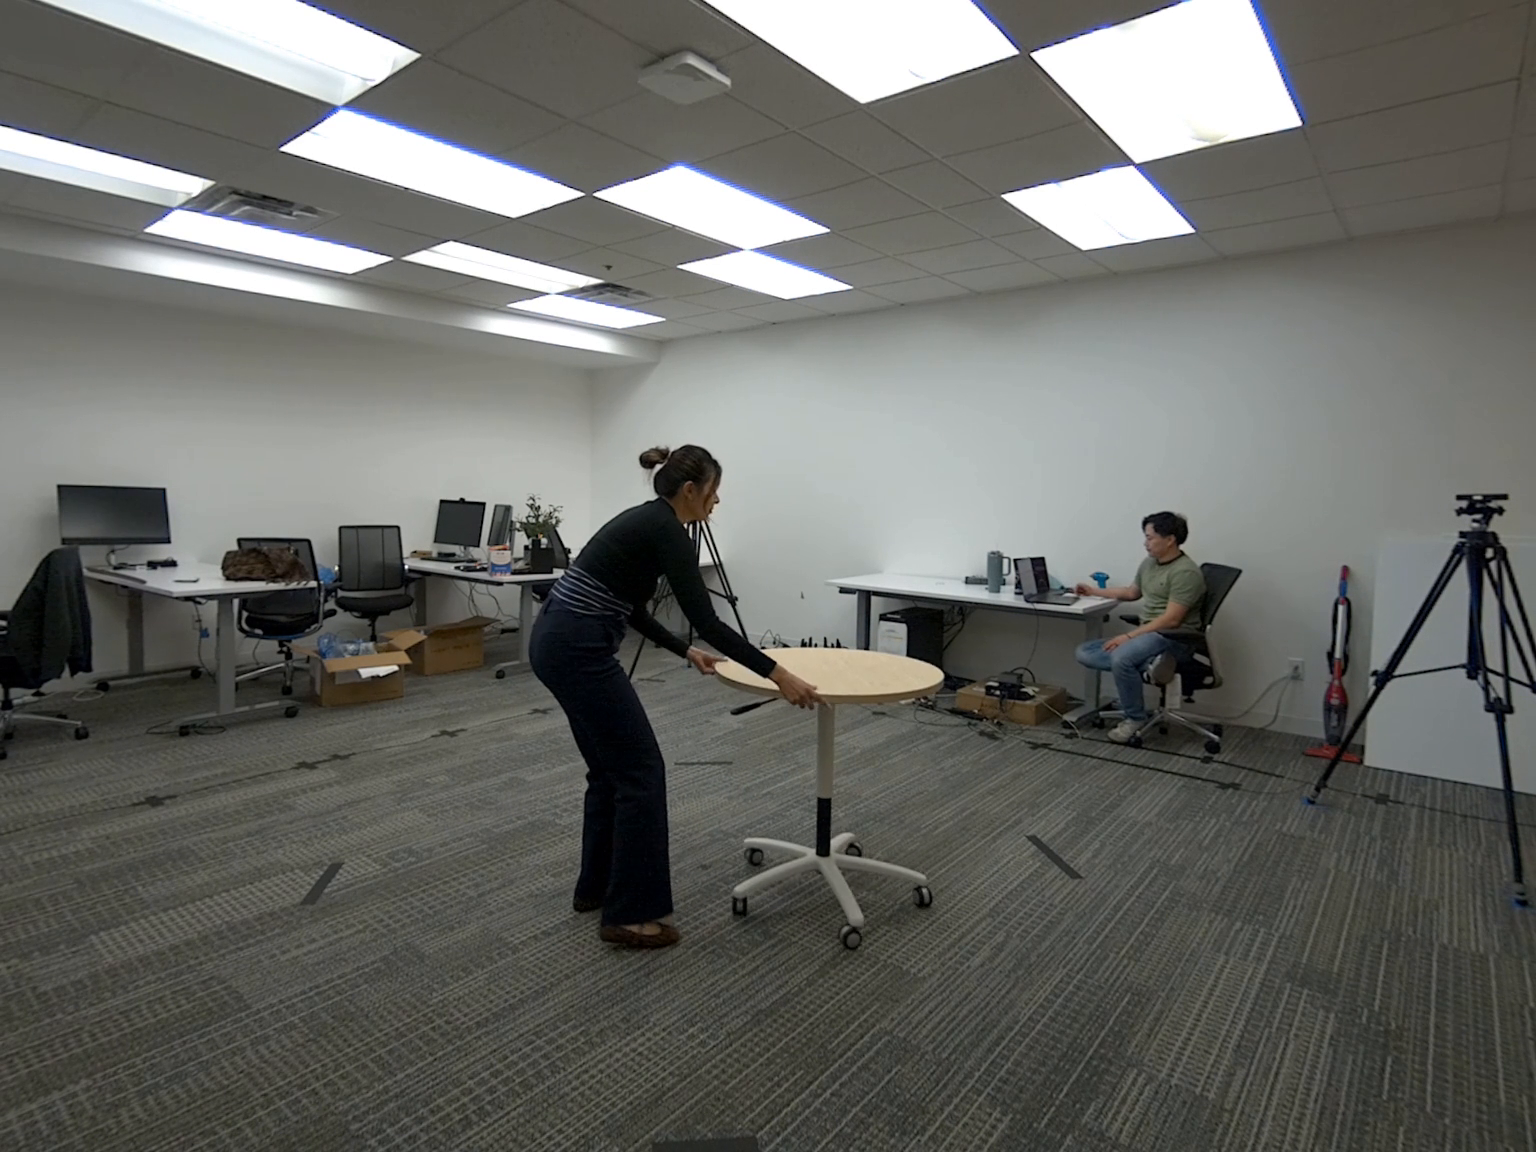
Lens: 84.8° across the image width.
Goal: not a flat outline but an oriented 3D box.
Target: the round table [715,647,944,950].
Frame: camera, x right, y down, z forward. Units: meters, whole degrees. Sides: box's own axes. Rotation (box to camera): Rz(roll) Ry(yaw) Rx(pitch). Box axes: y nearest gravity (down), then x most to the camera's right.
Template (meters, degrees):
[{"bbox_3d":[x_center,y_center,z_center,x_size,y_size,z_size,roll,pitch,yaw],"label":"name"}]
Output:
[{"bbox_3d":[0.181,0.704,2.905,0.763,0.791,0.768,1,4,-2],"label":"round table"}]
